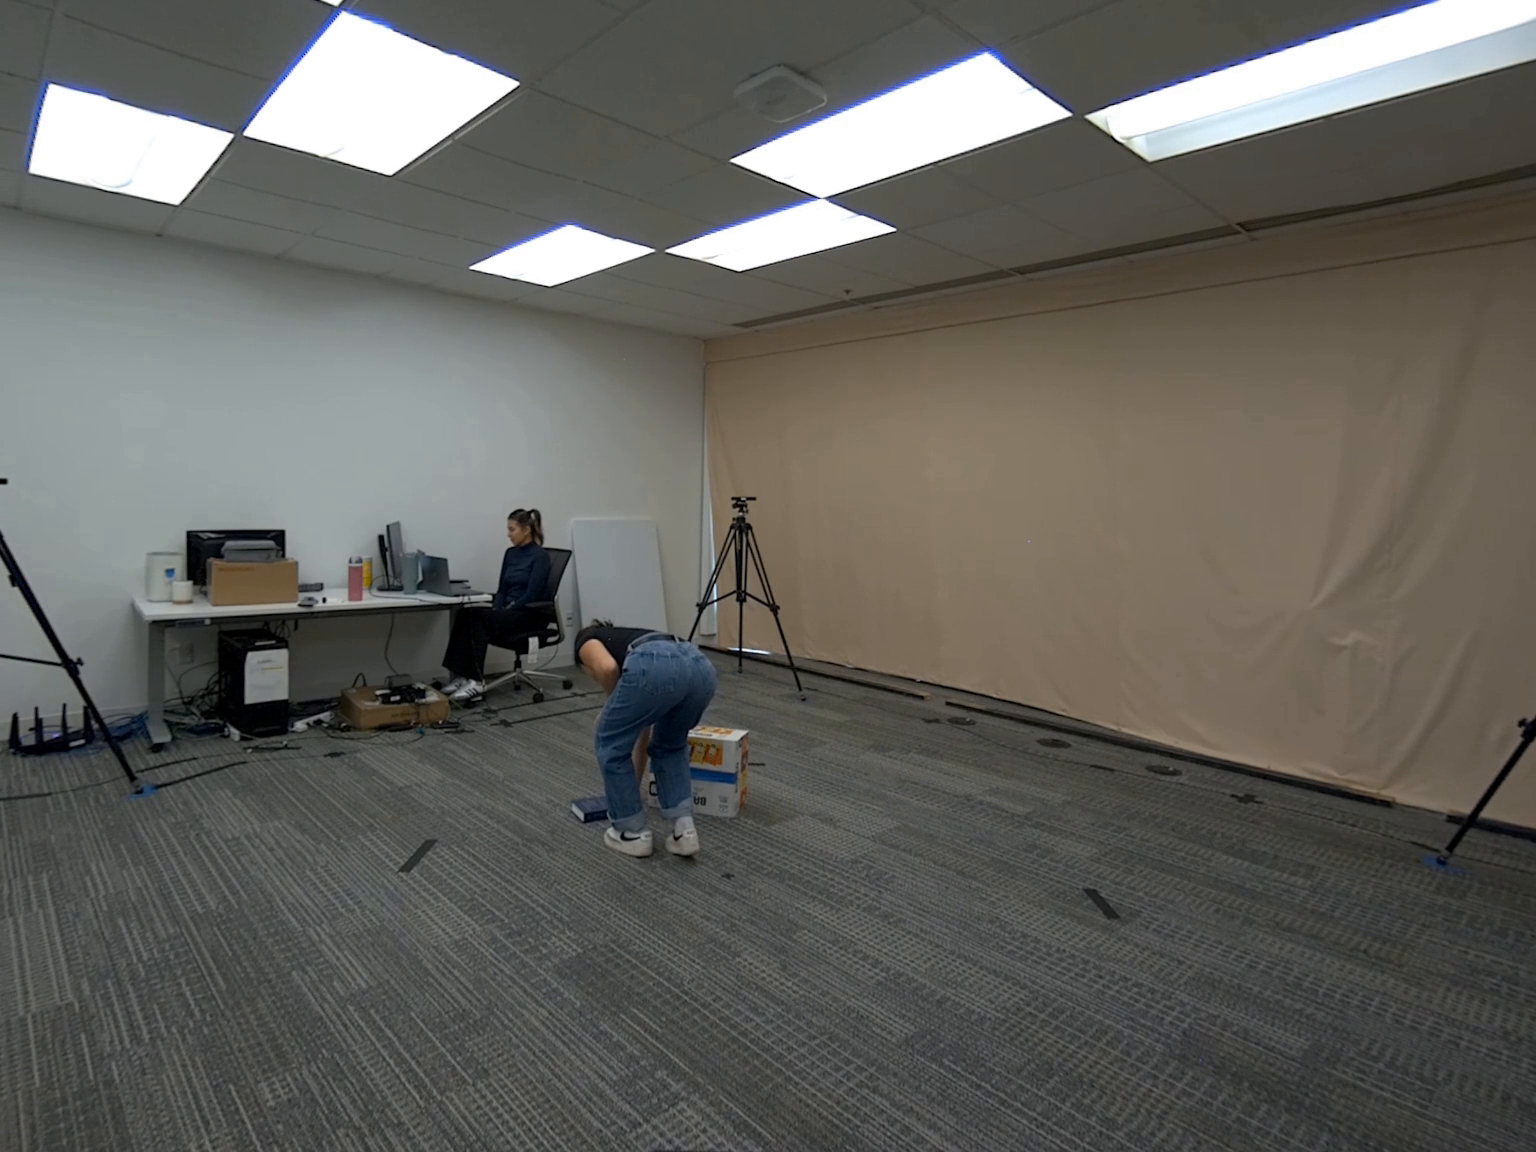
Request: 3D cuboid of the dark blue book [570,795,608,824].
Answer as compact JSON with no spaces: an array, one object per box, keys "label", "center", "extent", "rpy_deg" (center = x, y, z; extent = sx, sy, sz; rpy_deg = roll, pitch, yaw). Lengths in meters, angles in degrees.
[{"label":"dark blue book","center":[-0.738,1.020,3.703],"extent":[0.240,0.045,0.167],"rpy_deg":[-1,6,-31]}]
